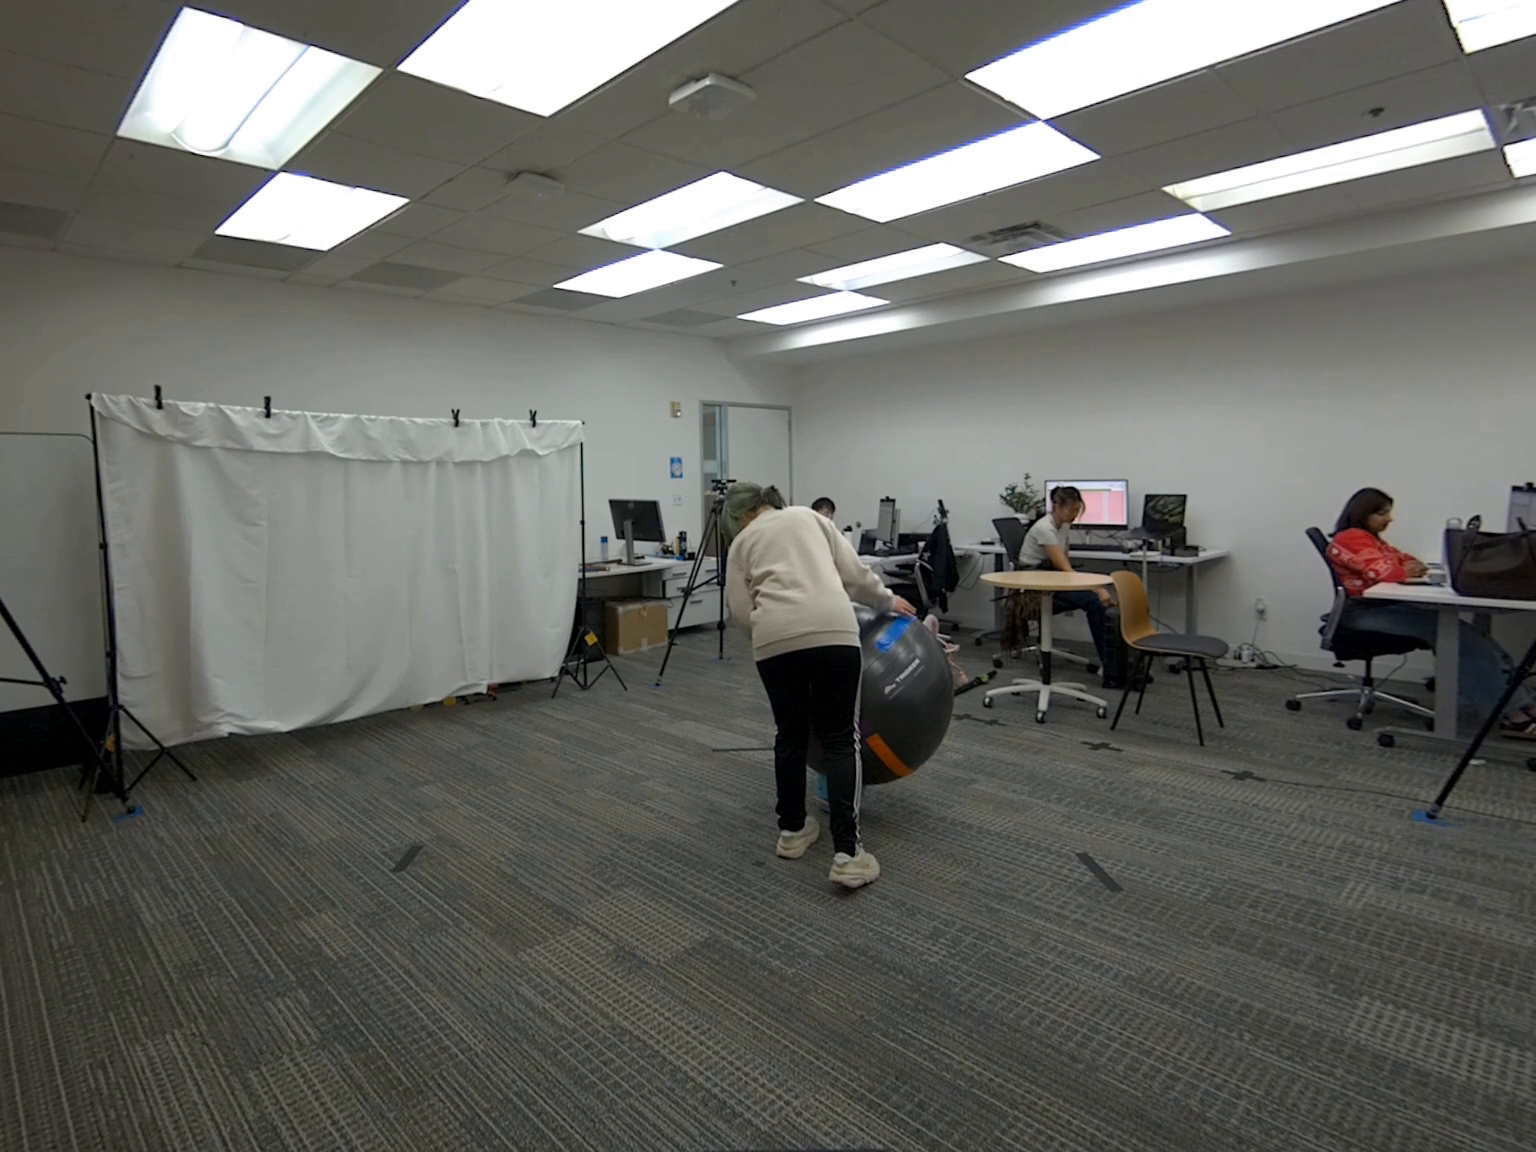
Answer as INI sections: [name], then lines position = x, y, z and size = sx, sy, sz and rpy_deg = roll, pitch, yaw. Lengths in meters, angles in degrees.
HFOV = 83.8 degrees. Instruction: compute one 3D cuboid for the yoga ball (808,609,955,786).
[yoga ball]
position = 0.384, 0.476, 3.545
size = 0.757, 0.755, 0.762
rpy_deg = -1, 5, -2
